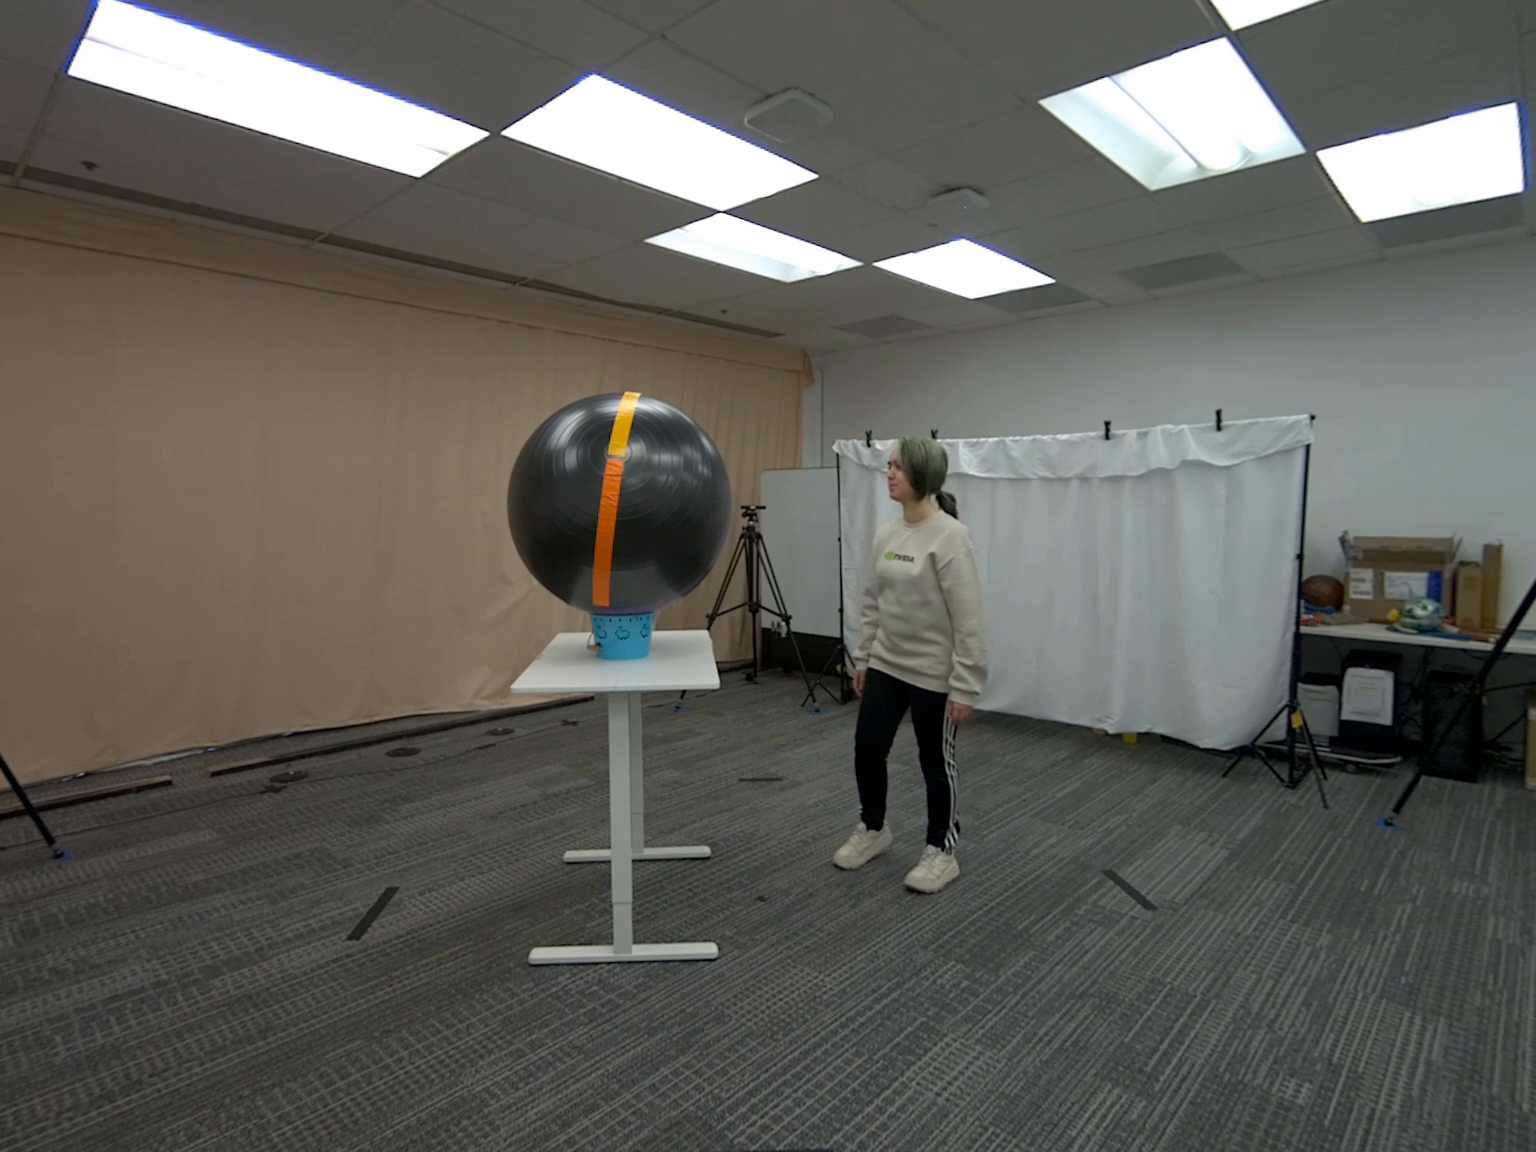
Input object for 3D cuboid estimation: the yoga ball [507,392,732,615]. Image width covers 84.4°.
[{"bbox_3d":[-0.500,-0.235,2.863,0.757,0.756,0.760,0,4,-2],"label":"yoga ball"}]
